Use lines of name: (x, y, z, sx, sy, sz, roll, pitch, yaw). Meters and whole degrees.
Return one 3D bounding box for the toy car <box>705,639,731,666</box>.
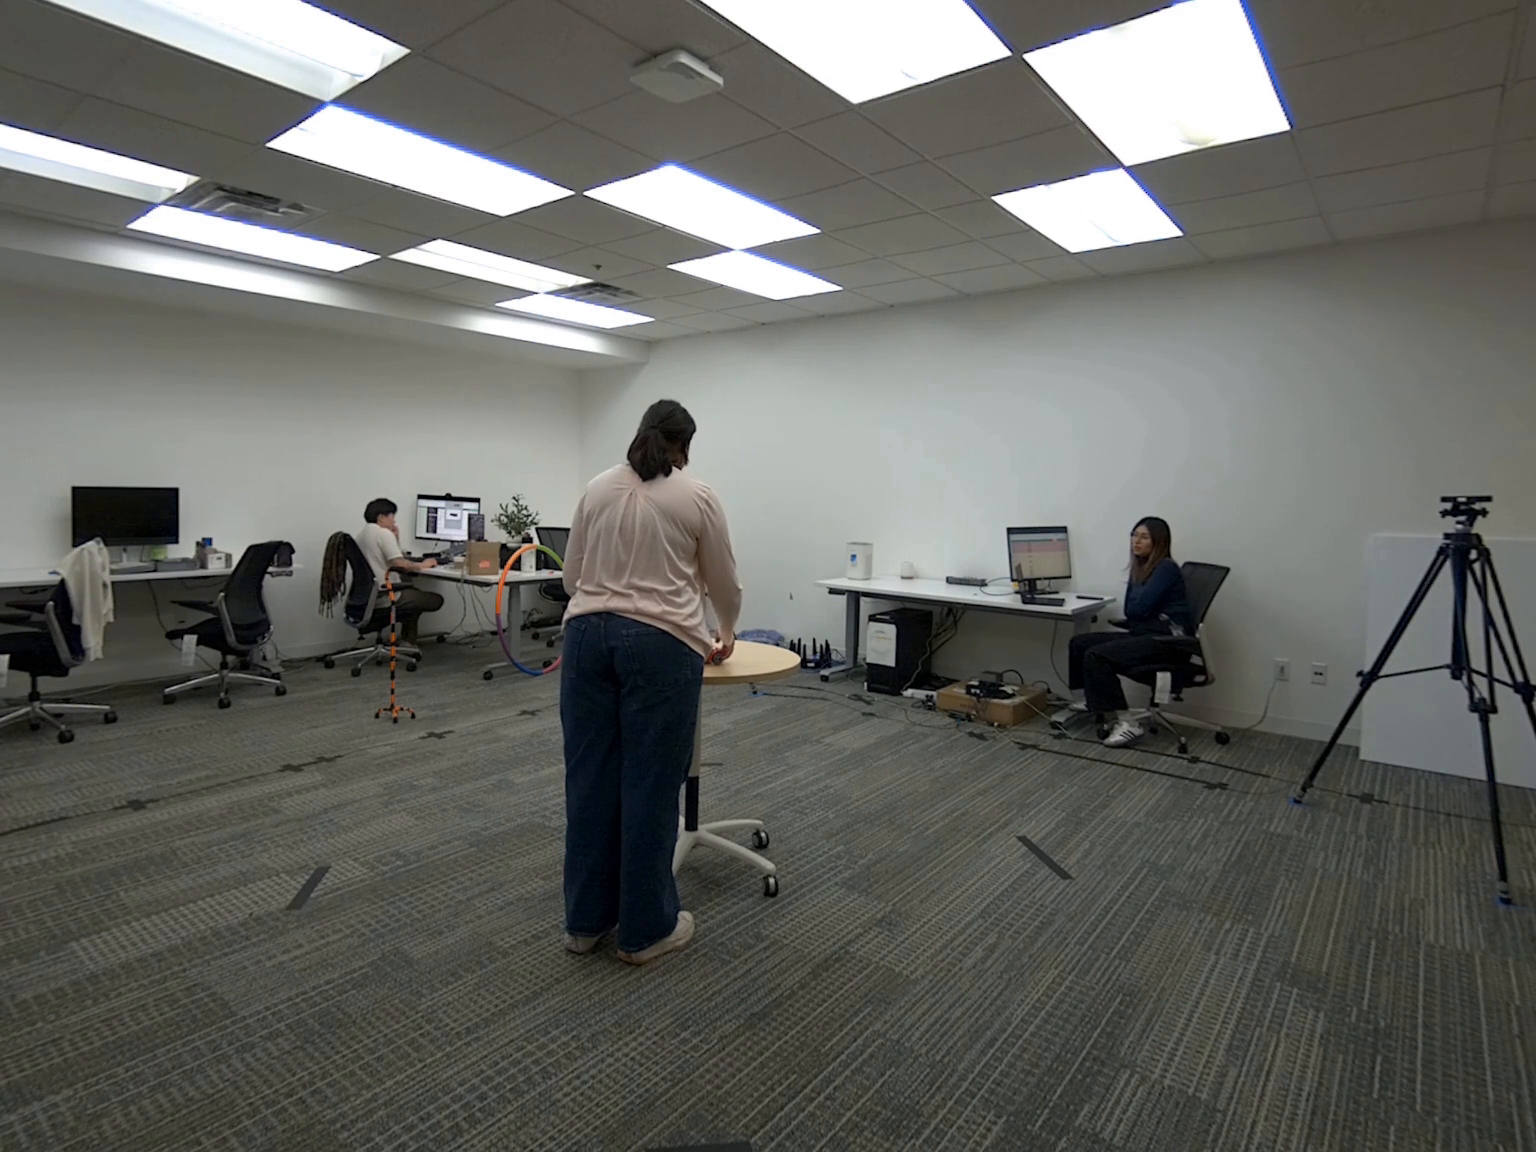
toy car: (-0.290, 0.266, 2.926, 0.247, 0.083, 0.134, 11, 0, -26)
